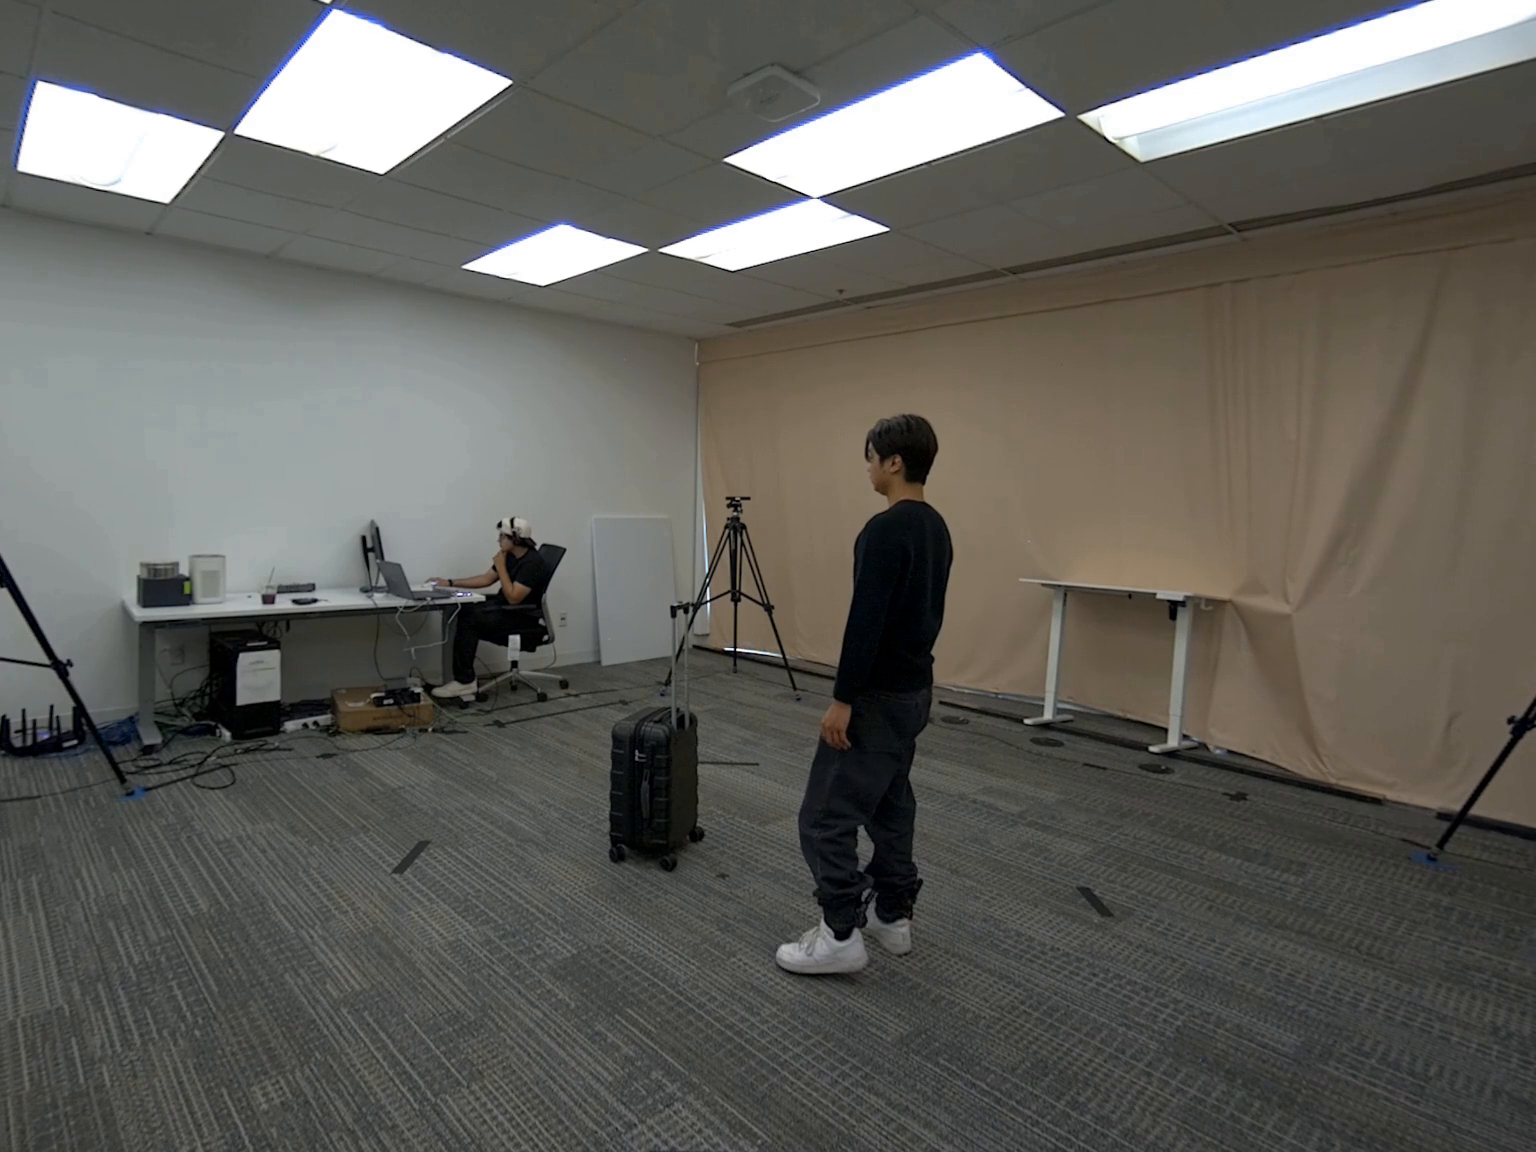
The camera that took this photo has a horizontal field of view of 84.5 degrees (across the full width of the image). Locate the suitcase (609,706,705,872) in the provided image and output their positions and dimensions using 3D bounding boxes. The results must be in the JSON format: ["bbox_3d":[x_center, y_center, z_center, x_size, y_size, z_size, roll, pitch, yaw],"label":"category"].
[{"bbox_3d":[-0.456,0.604,3.308,0.260,0.978,0.379,-2,1,16],"label":"suitcase"}]
